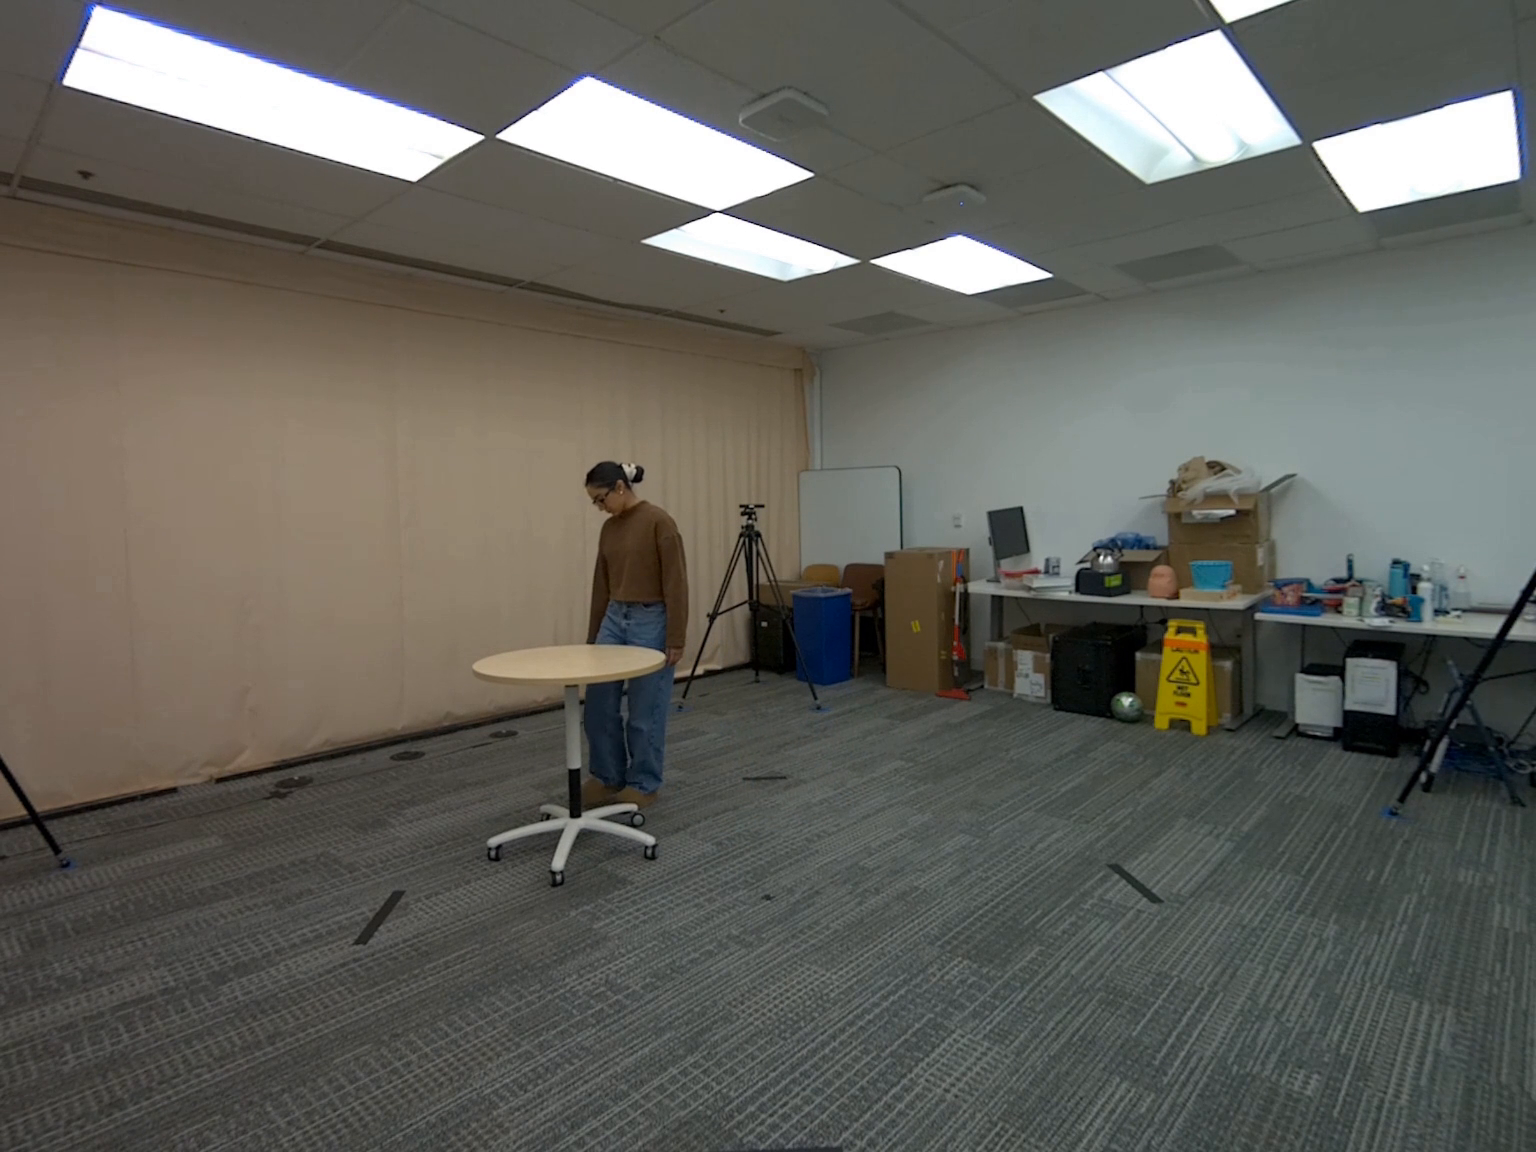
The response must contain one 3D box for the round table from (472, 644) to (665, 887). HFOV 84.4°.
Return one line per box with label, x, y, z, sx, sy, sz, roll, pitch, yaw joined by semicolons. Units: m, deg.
round table;-0.786;0.728;3.422;0.763;0.792;0.766;-1;3;-2
